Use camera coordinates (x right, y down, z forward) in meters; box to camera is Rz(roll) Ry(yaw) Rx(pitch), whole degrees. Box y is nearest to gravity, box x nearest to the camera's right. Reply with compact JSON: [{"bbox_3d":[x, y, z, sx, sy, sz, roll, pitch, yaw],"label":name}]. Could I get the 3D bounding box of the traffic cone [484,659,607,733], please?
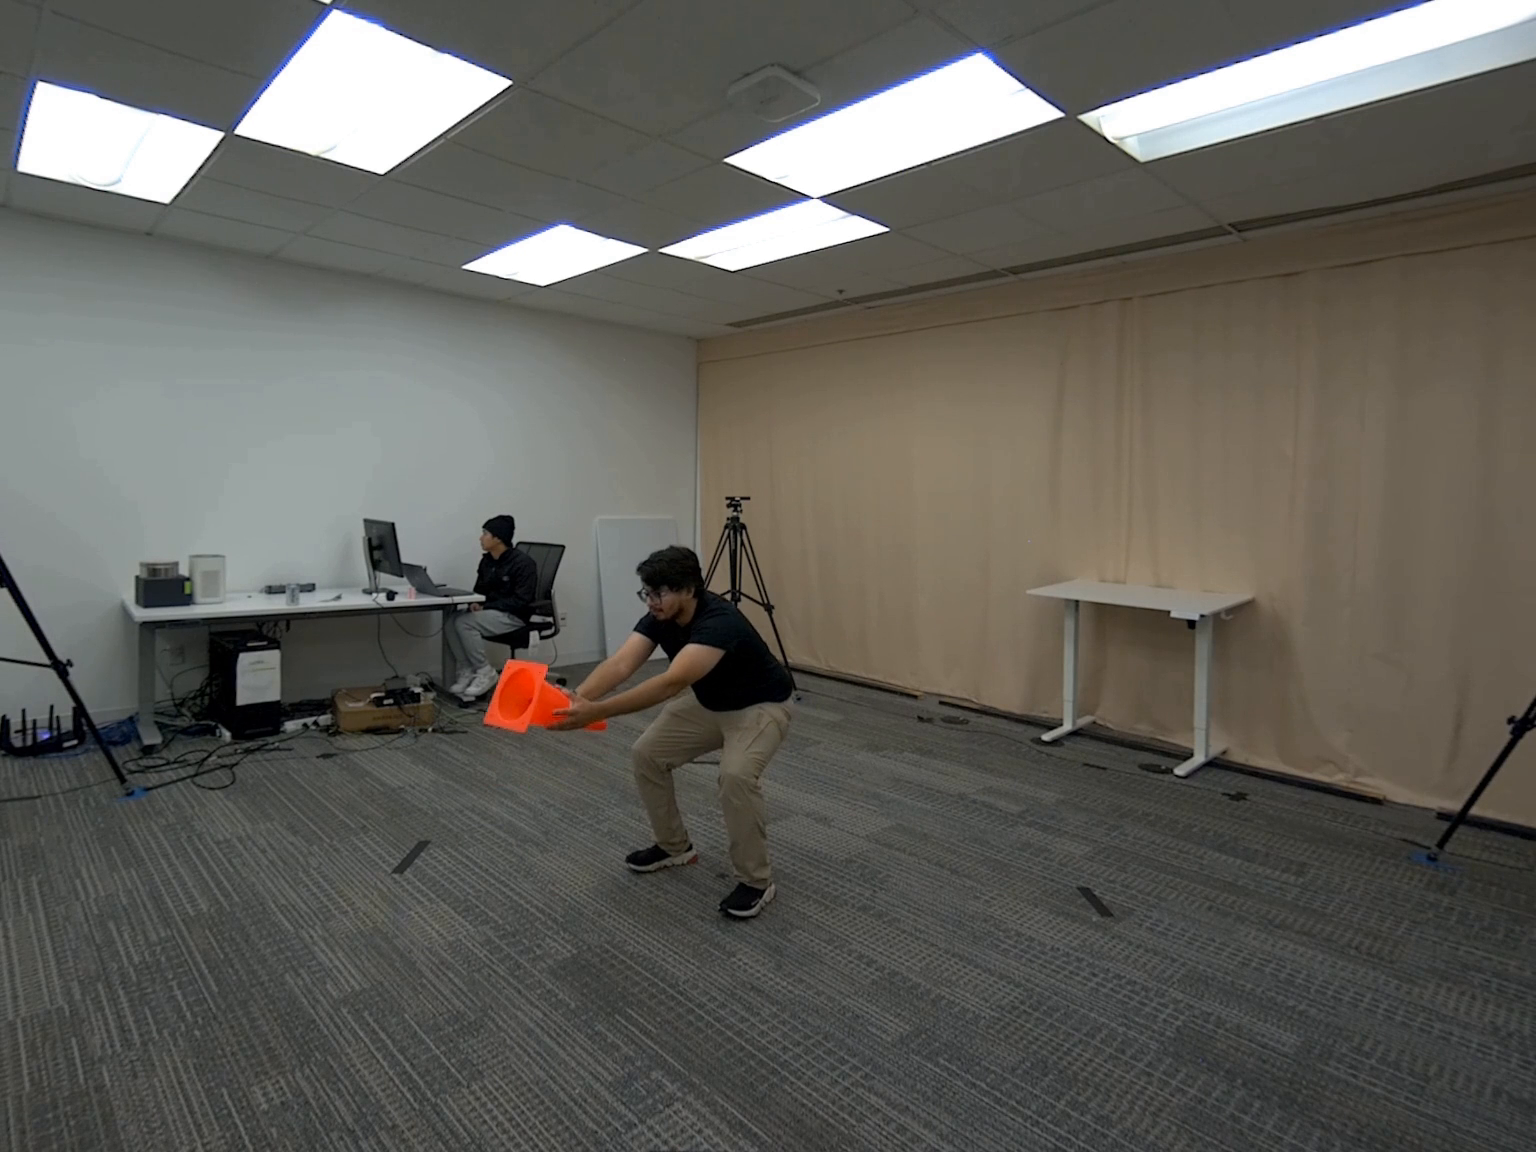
[{"bbox_3d":[-0.636,0.414,2.572,0.210,0.205,0.371,1,-21,38],"label":"traffic cone"}]
